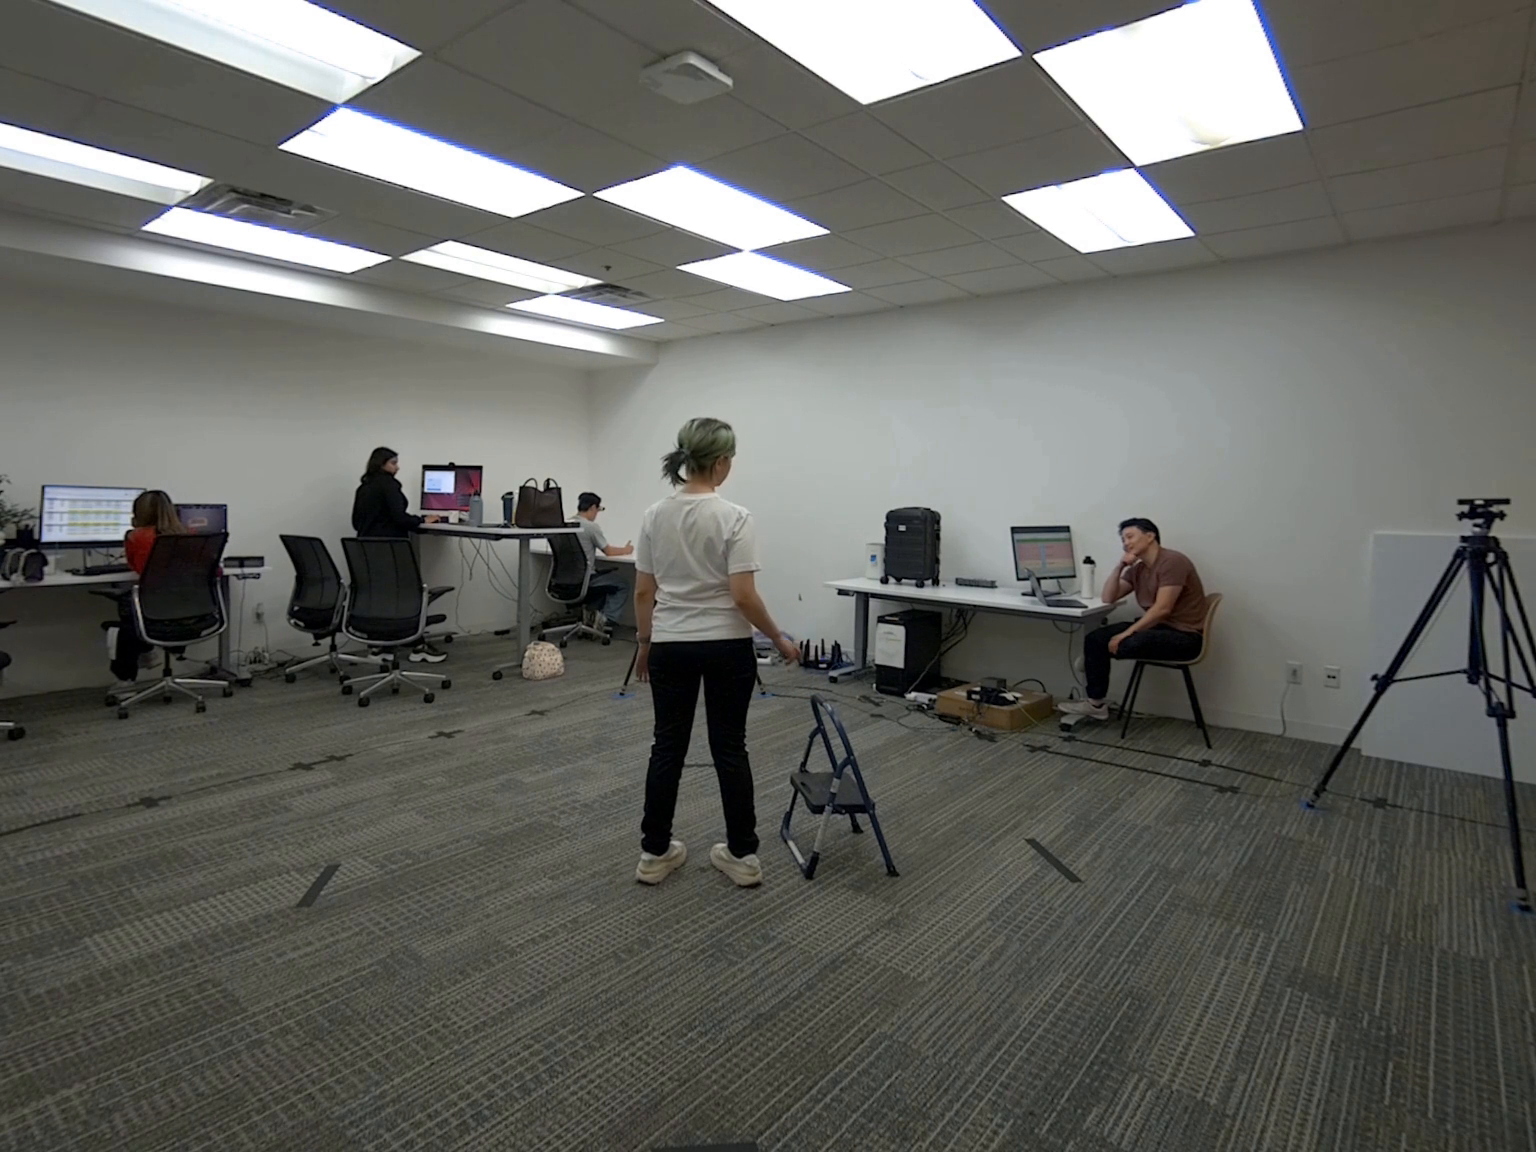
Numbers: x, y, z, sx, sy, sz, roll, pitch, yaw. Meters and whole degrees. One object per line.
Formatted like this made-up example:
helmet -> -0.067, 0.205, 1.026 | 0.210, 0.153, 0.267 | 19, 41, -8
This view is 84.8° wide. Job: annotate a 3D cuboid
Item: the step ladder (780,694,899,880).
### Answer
step ladder -> 0.258, 0.766, 3.255 | 0.345, 0.604, 0.437 | 1, 3, -13
